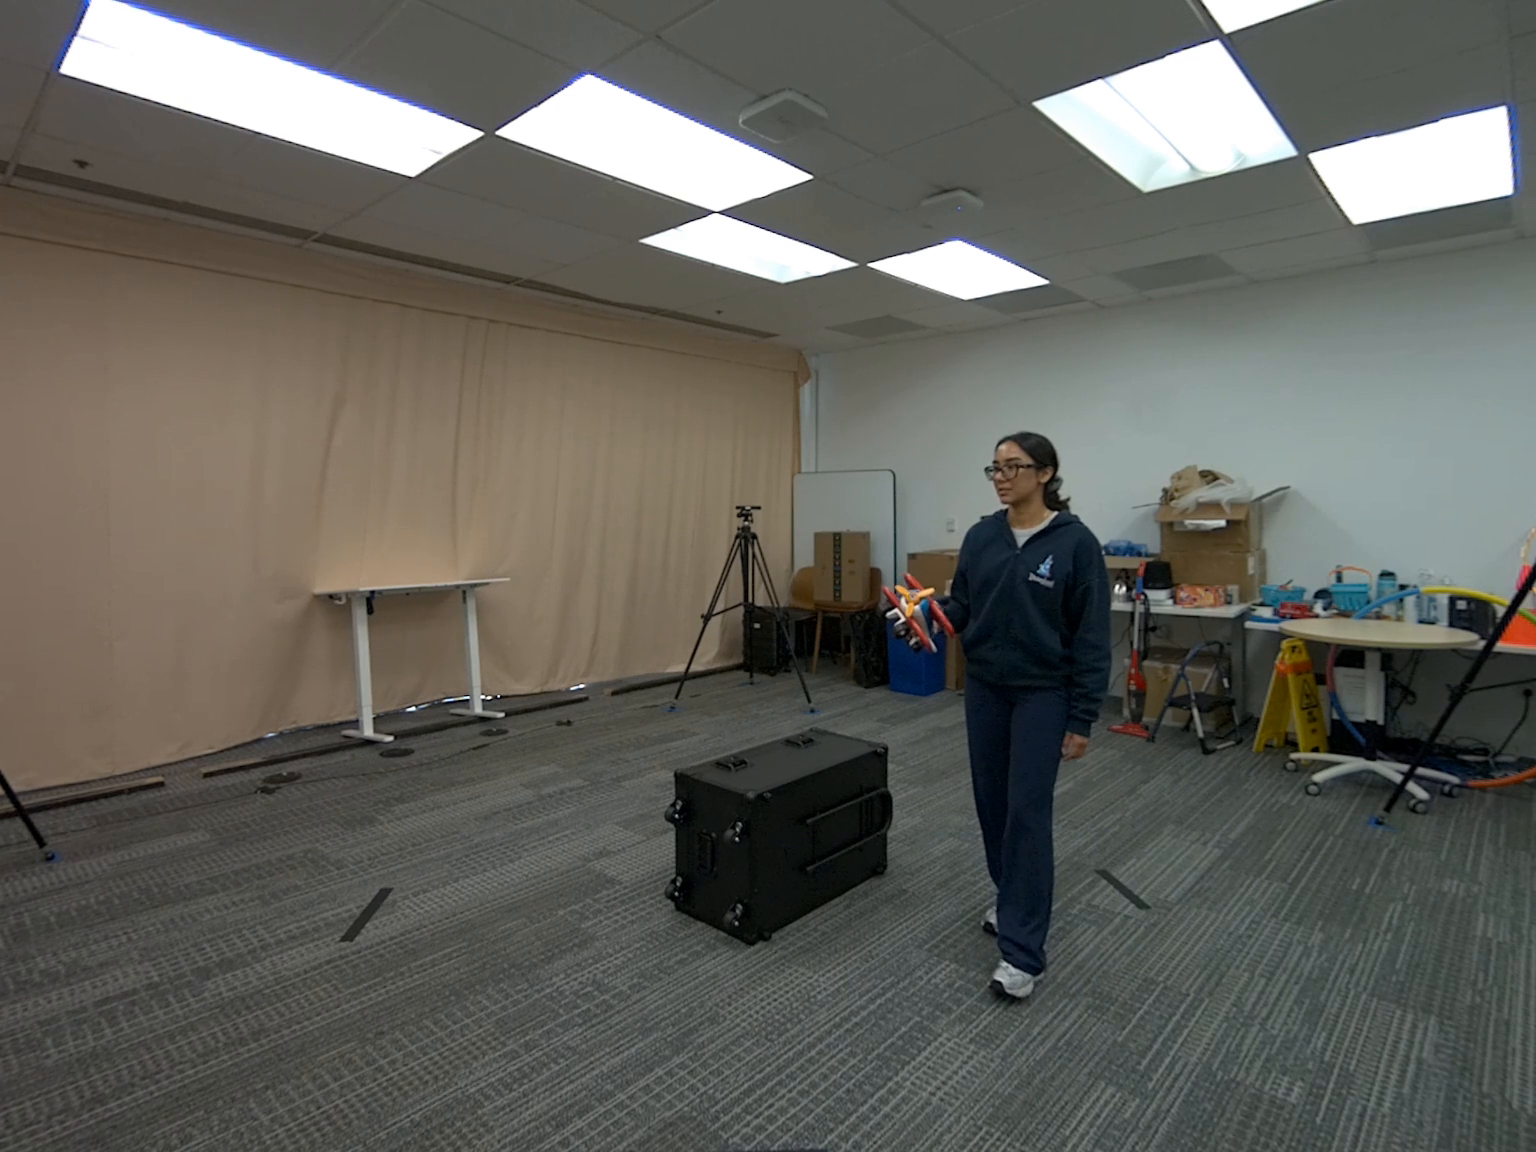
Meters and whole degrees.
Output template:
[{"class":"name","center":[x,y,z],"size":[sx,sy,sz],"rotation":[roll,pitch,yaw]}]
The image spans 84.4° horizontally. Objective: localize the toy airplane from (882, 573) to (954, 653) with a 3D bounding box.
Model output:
[{"class":"toy airplane","center":[0.460,0.120,2.579],"size":[0.157,0.255,0.254],"rotation":[-42,-14,10]}]
